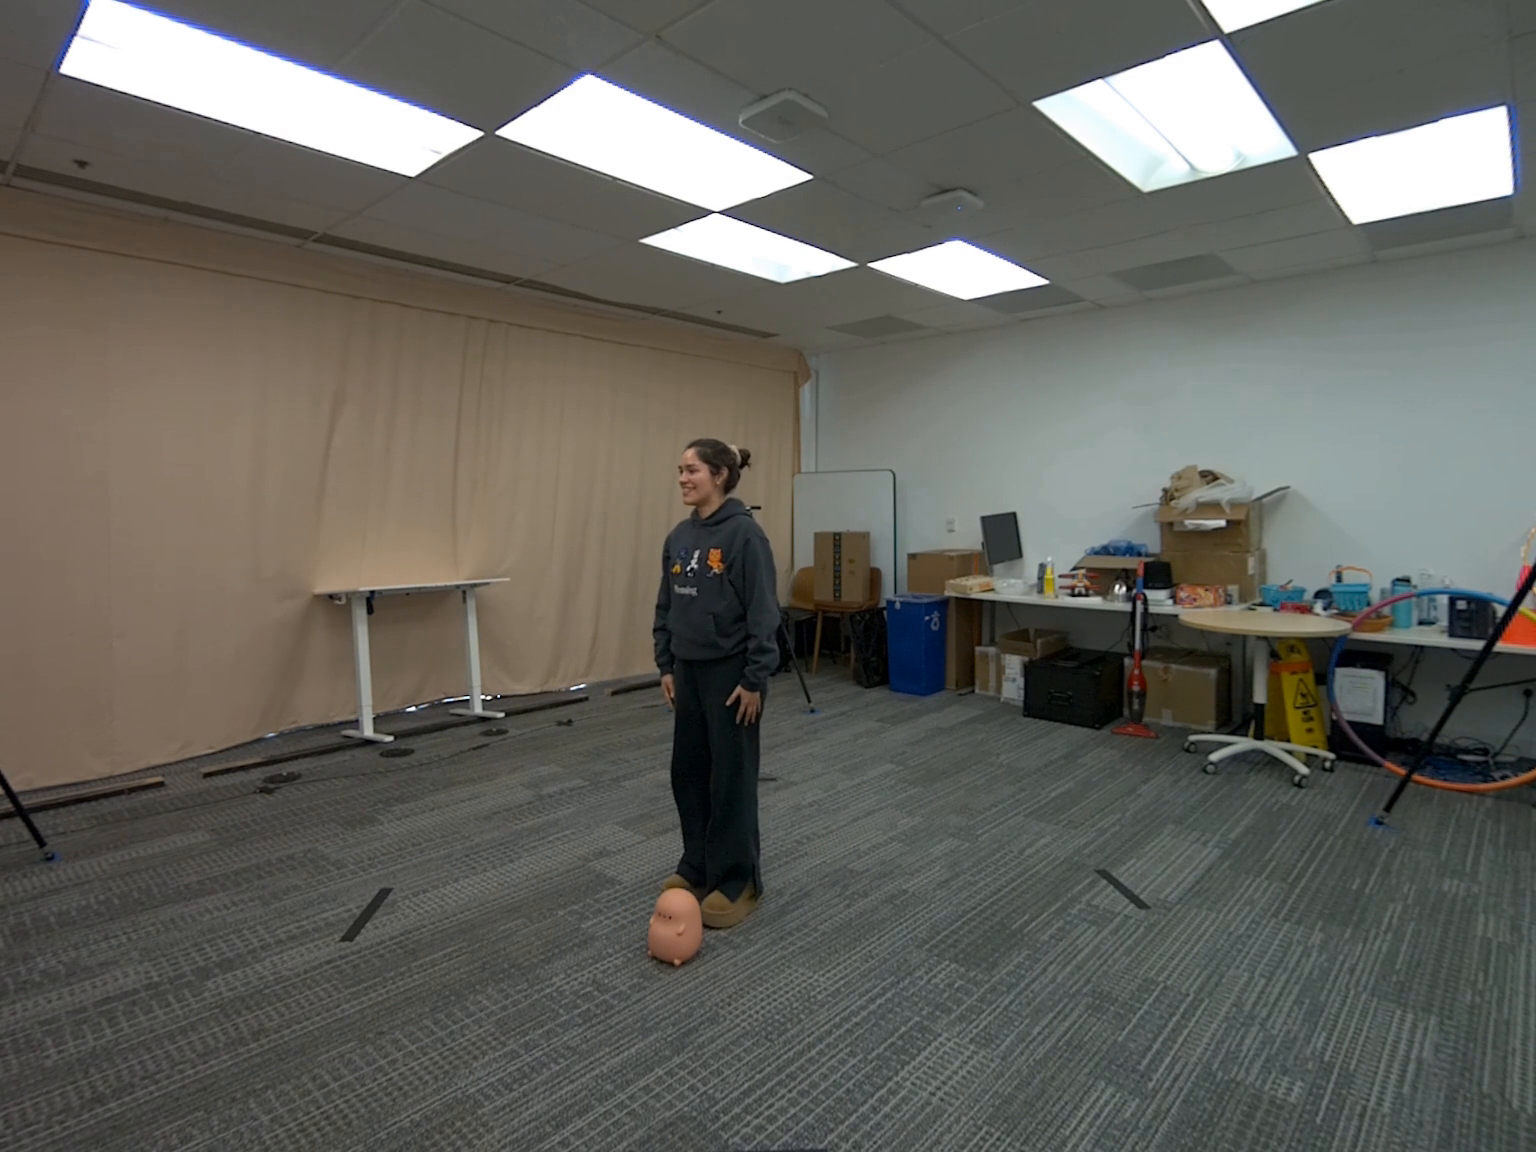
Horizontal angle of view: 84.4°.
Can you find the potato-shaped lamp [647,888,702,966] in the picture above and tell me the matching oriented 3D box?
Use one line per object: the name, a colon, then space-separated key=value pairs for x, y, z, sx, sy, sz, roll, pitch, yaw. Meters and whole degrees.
potato-shaped lamp: x=-0.275 y=1.072 z=2.619 sx=0.170 sy=0.198 sz=0.166 roll=0 pitch=4 yaw=35
